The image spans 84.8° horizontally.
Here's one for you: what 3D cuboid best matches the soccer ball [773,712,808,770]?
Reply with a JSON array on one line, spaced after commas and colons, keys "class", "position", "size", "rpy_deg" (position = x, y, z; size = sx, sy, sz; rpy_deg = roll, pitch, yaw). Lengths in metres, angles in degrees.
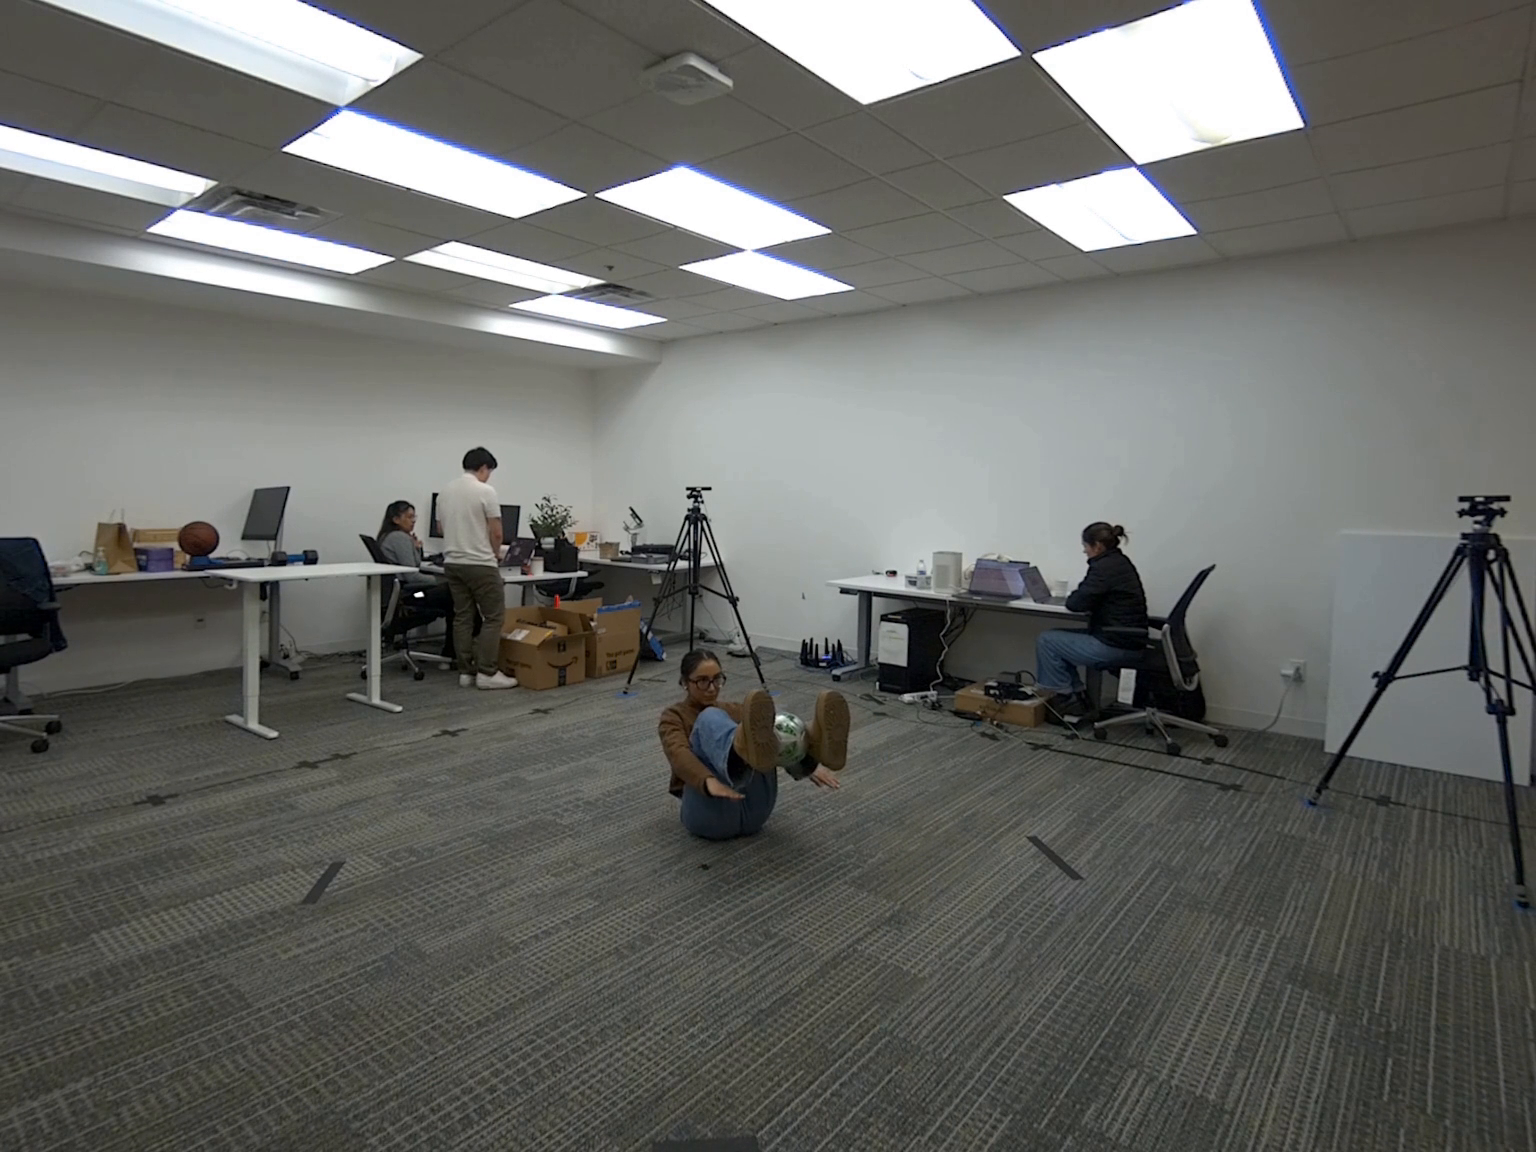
[{"class": "soccer ball", "position": [0.057, 0.588, 3.031], "size": [0.187, 0.187, 0.188], "rpy_deg": [1, 4, -2]}]
